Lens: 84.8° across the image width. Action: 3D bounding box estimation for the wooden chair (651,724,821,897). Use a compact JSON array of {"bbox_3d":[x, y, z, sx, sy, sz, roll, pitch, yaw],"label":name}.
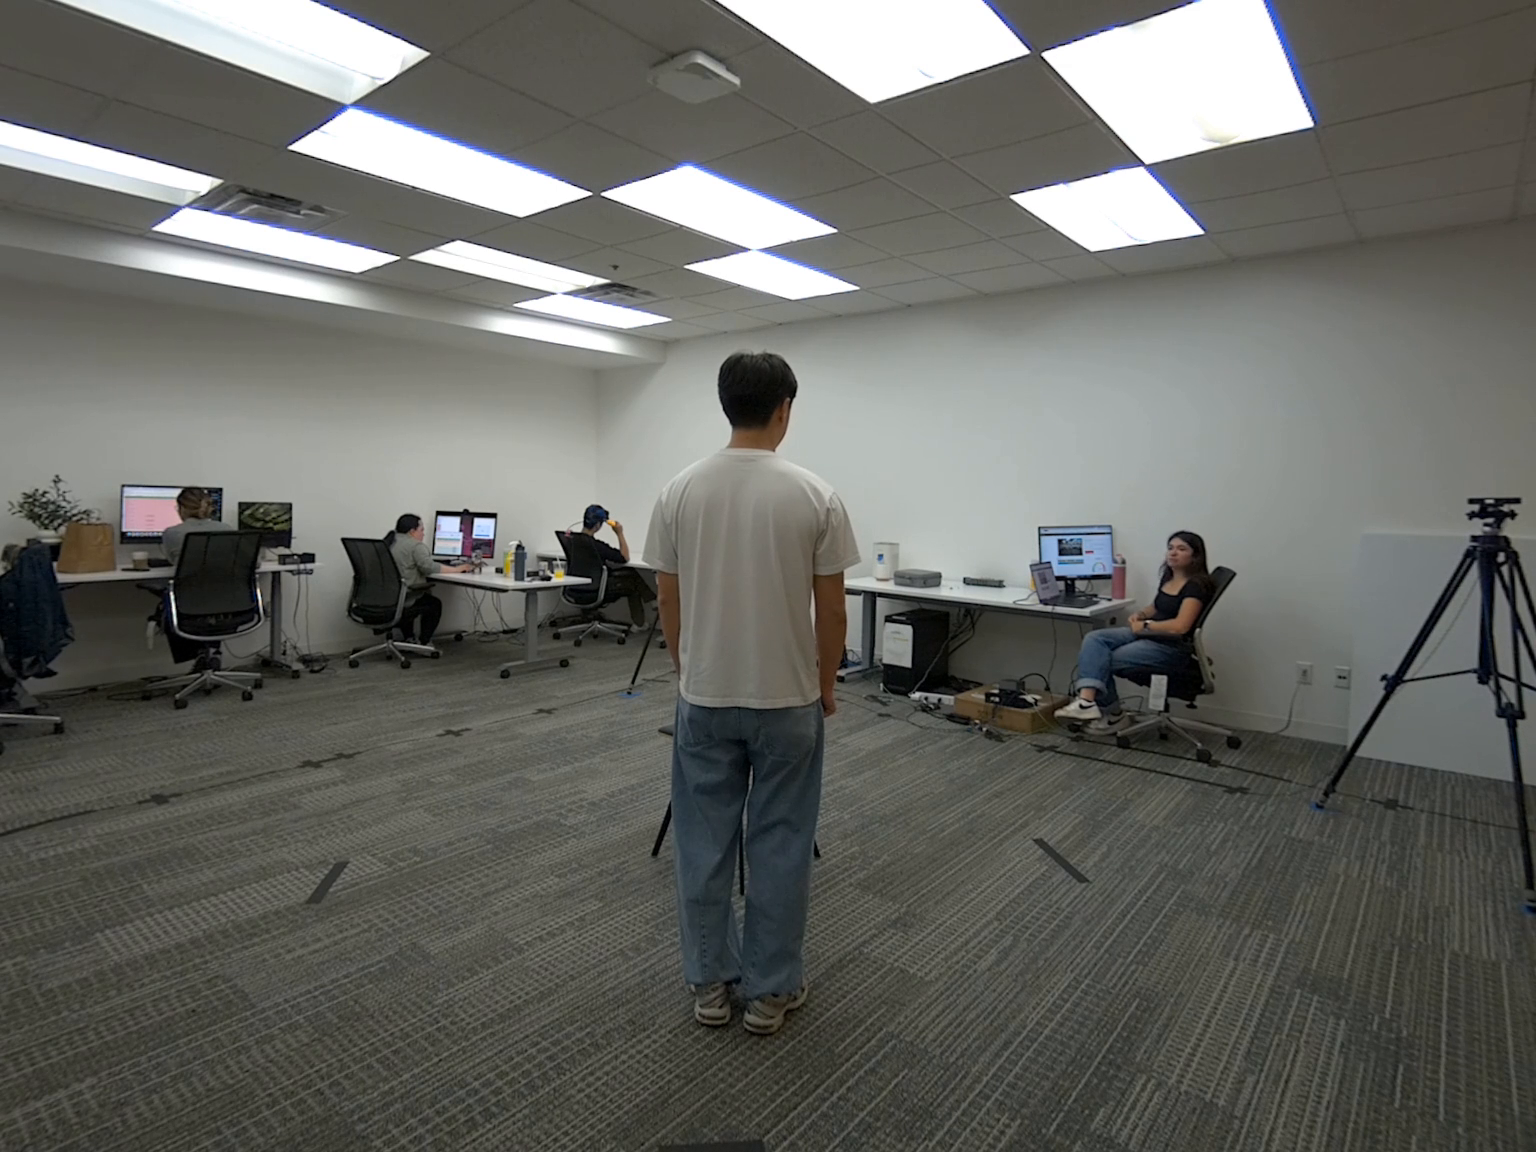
[{"bbox_3d":[-0.123,0.629,3.191,0.542,0.873,0.463,10,8,40],"label":"wooden chair"}]
